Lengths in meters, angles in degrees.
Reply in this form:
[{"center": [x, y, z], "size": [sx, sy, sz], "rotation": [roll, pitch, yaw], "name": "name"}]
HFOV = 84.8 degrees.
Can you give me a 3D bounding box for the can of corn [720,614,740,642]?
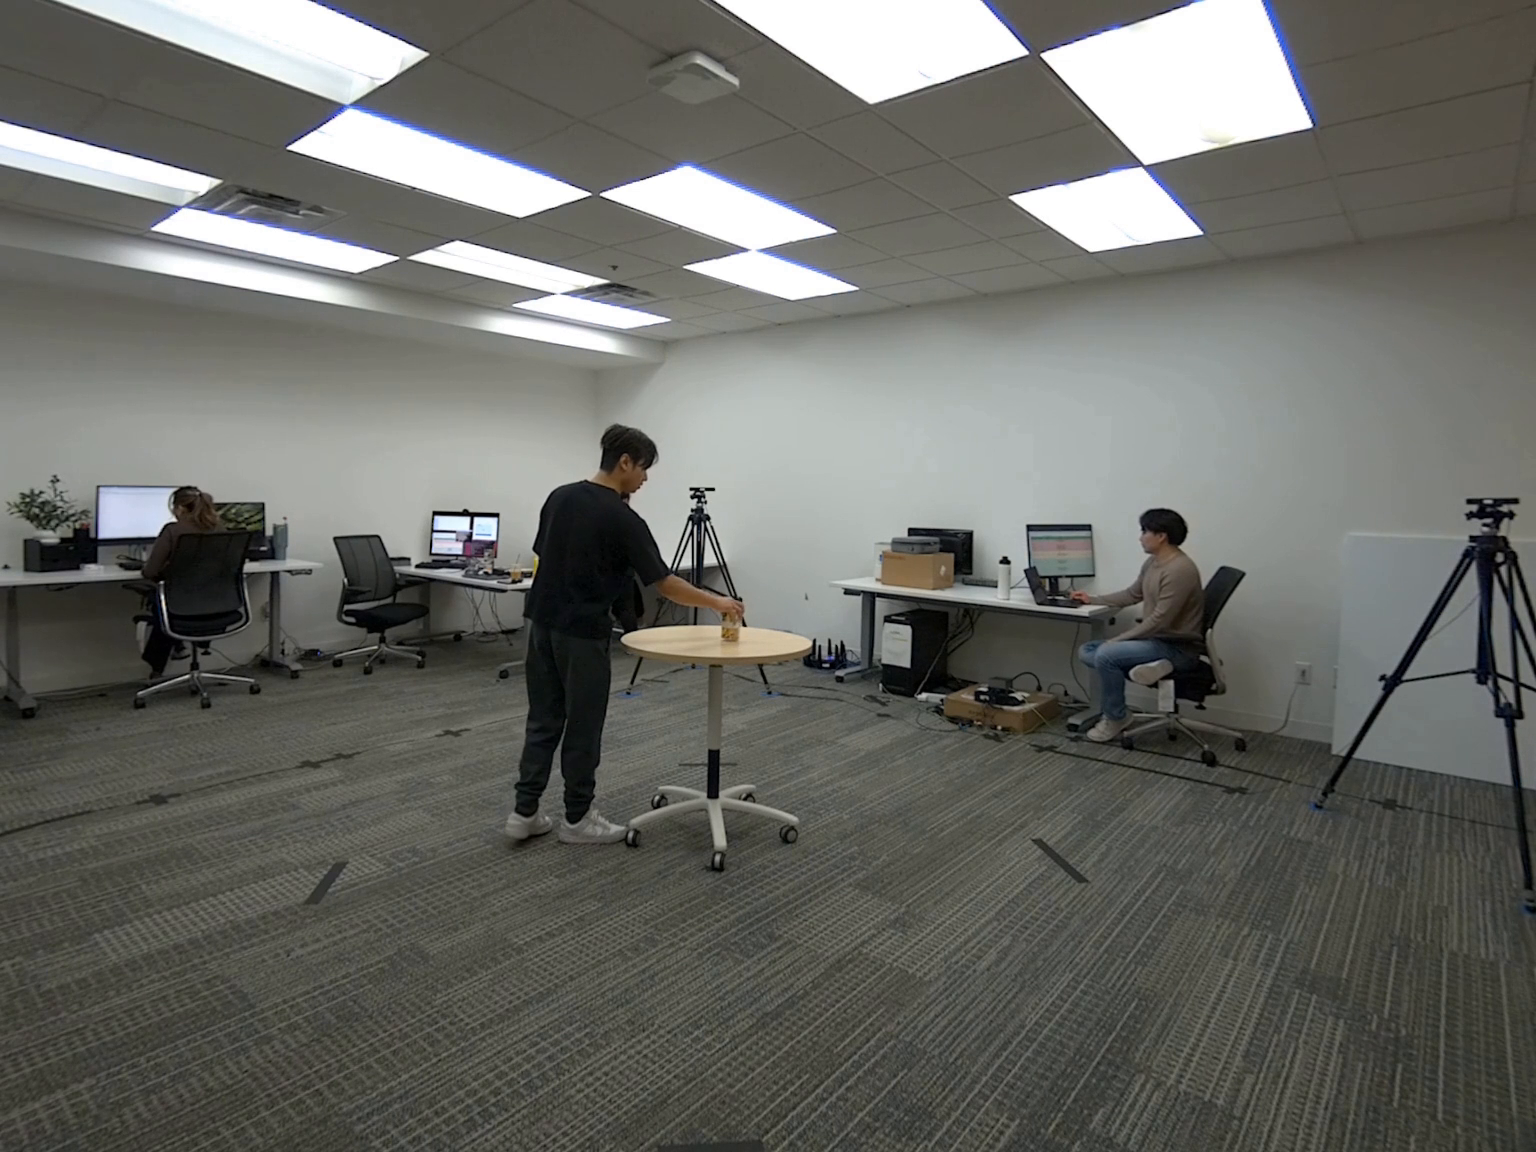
[{"center": [-0.158, 0.198, 3.413], "size": [0.074, 0.110, 0.075], "rotation": [1, 8, -2], "name": "can of corn"}]
